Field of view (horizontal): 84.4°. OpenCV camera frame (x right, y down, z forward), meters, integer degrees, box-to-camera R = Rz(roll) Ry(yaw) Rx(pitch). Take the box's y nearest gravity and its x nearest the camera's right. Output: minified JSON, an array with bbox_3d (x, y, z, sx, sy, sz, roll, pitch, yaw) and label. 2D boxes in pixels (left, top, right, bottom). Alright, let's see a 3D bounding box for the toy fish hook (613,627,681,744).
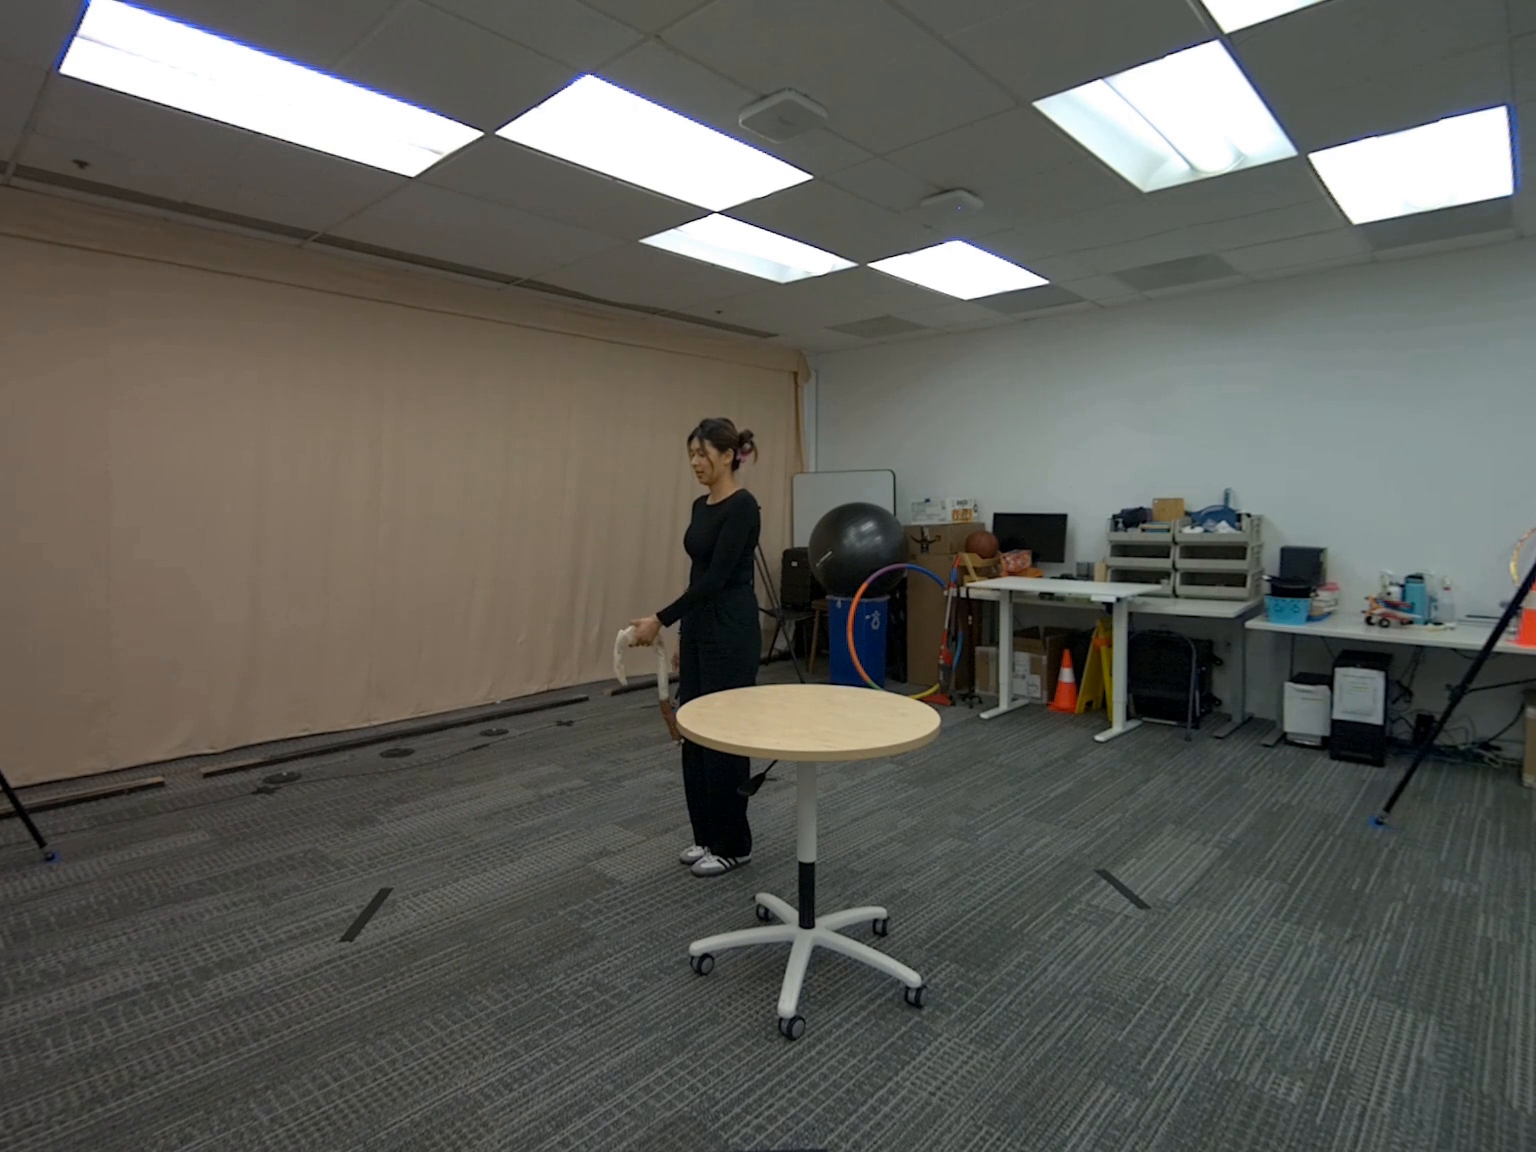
[{"bbox_3d":[-0.454,0.402,3.104,0.220,0.501,0.050,-21,14,-27],"label":"toy fish hook"}]
